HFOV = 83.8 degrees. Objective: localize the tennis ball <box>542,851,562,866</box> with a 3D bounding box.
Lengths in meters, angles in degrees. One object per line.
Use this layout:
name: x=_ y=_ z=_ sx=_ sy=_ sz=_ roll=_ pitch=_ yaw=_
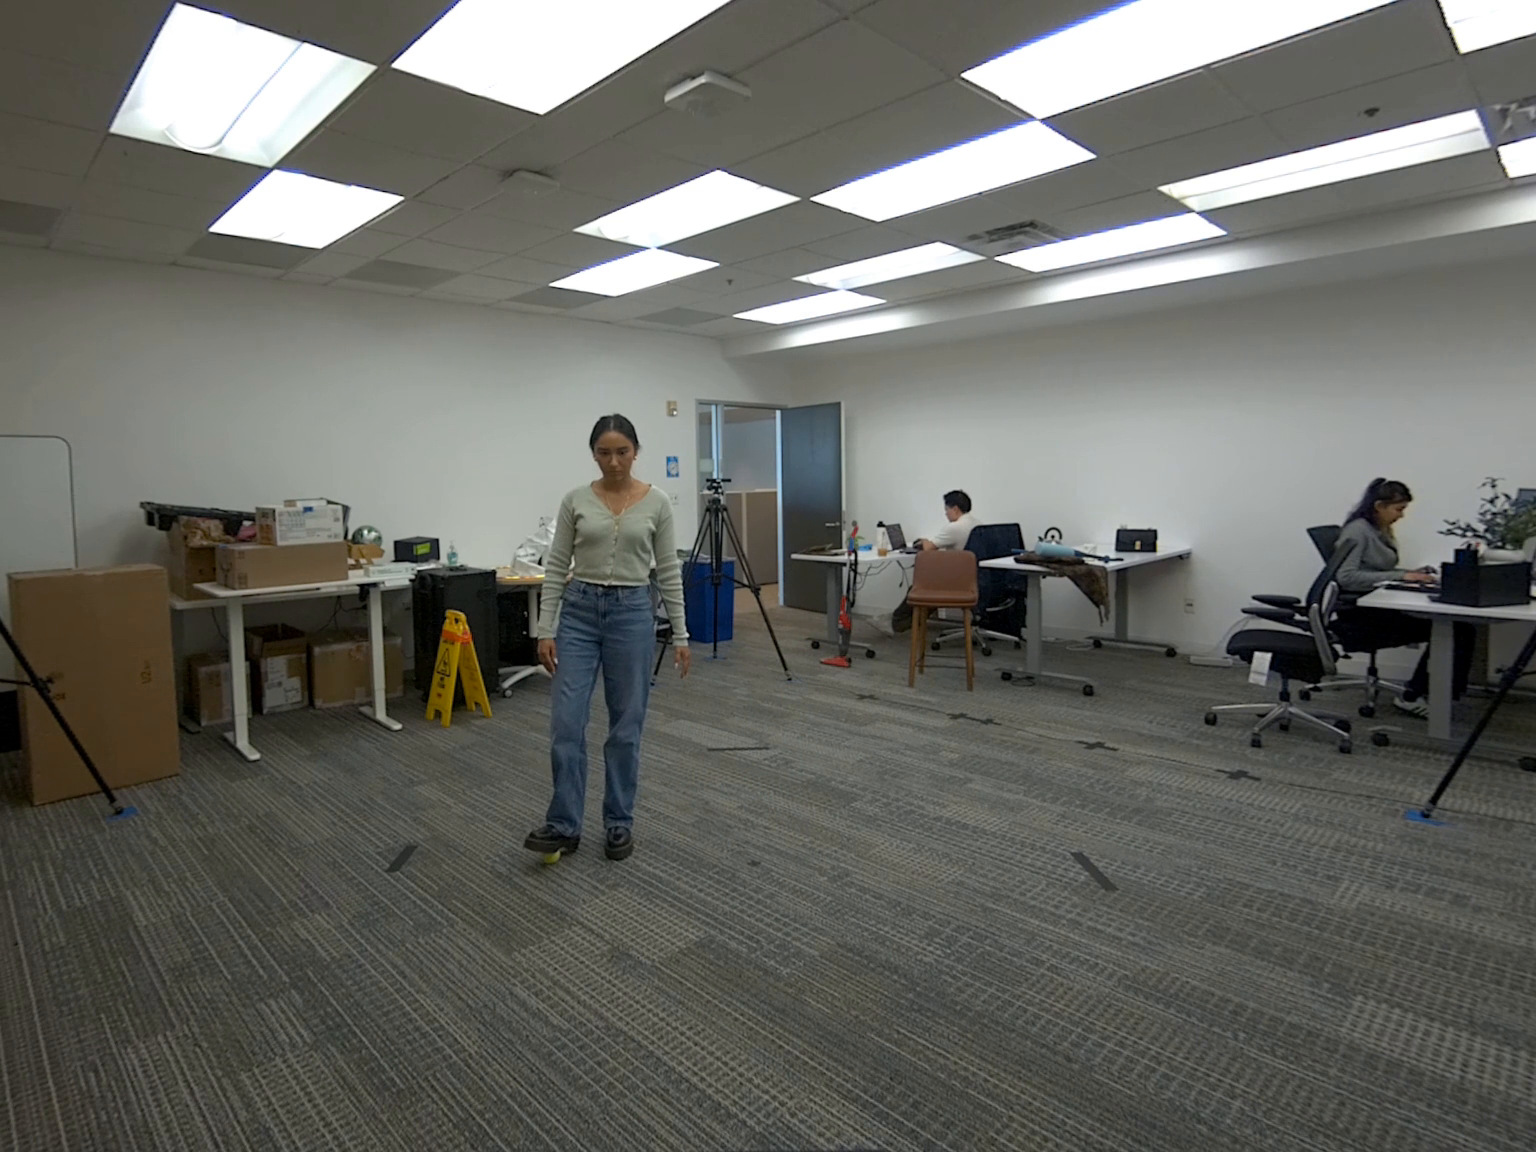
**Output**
tennis ball: x=-0.804 y=1.040 z=3.153 sx=0.066 sy=0.066 sz=0.067 roll=-1 pitch=5 yaw=-2
